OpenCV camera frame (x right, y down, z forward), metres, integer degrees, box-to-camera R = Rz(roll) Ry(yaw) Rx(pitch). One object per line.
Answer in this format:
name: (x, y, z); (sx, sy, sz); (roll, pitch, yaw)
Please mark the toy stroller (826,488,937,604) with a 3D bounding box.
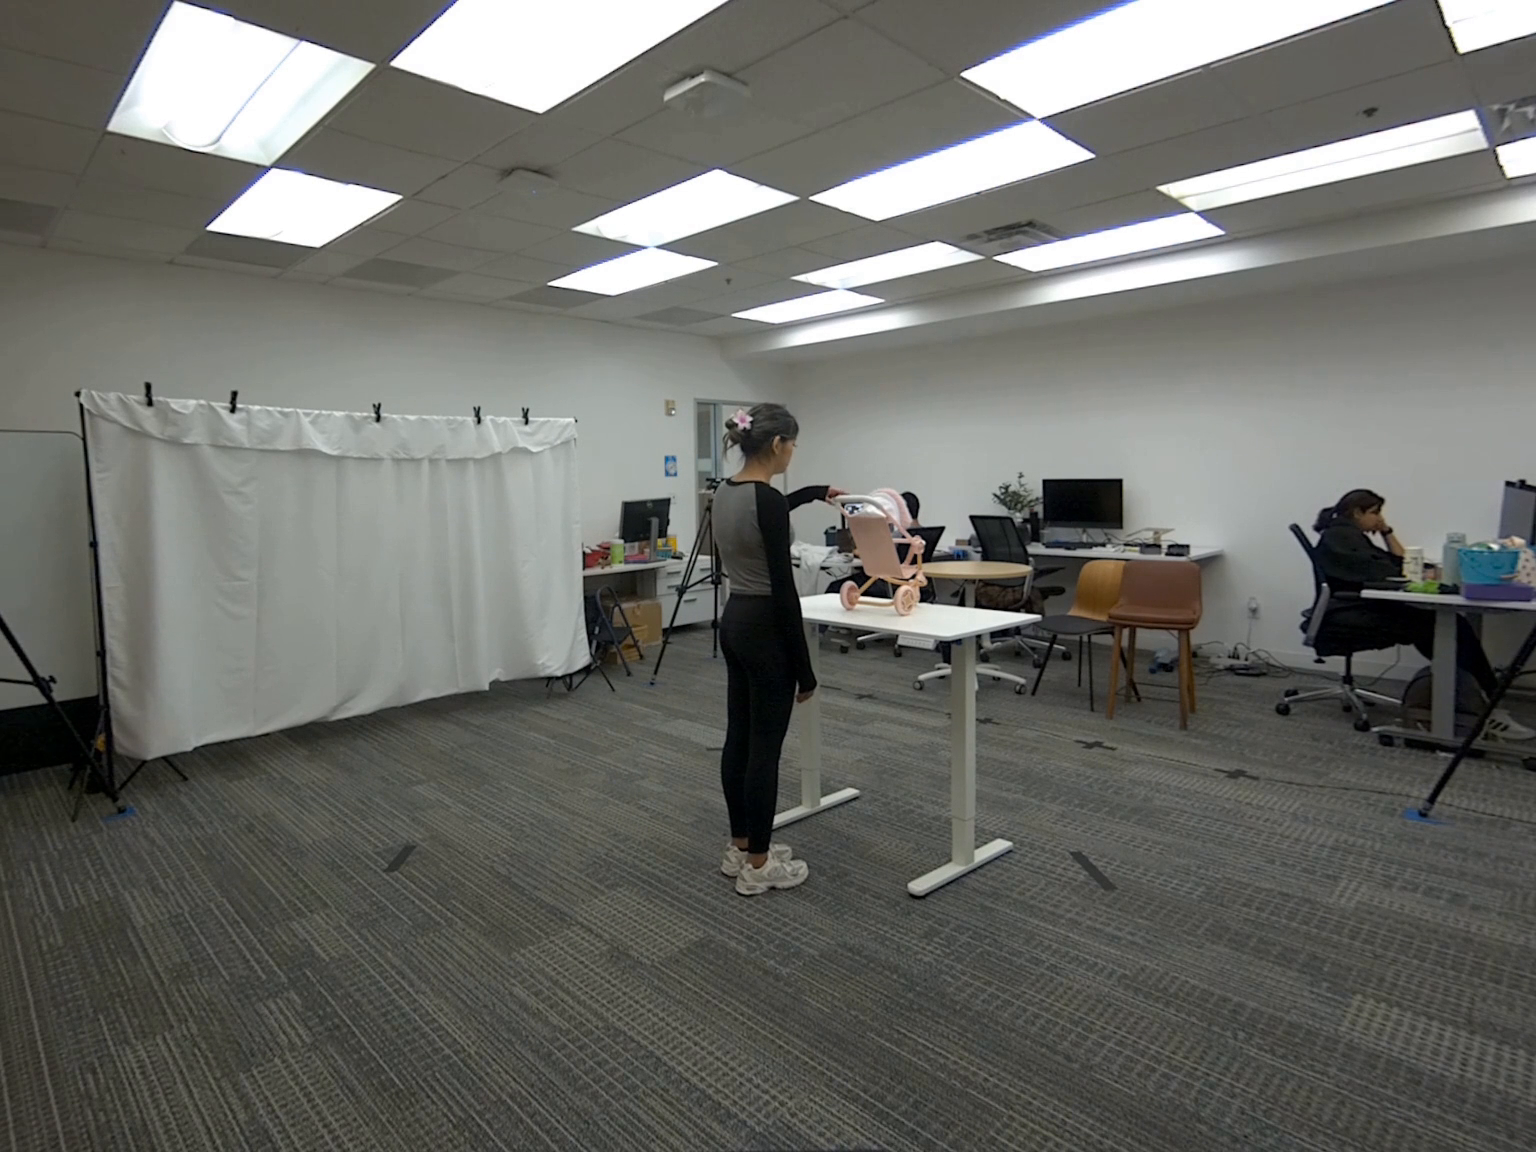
toy stroller: (0.457, -0.091, 3.251); (0.336, 0.527, 0.290); (-22, 18, -39)
